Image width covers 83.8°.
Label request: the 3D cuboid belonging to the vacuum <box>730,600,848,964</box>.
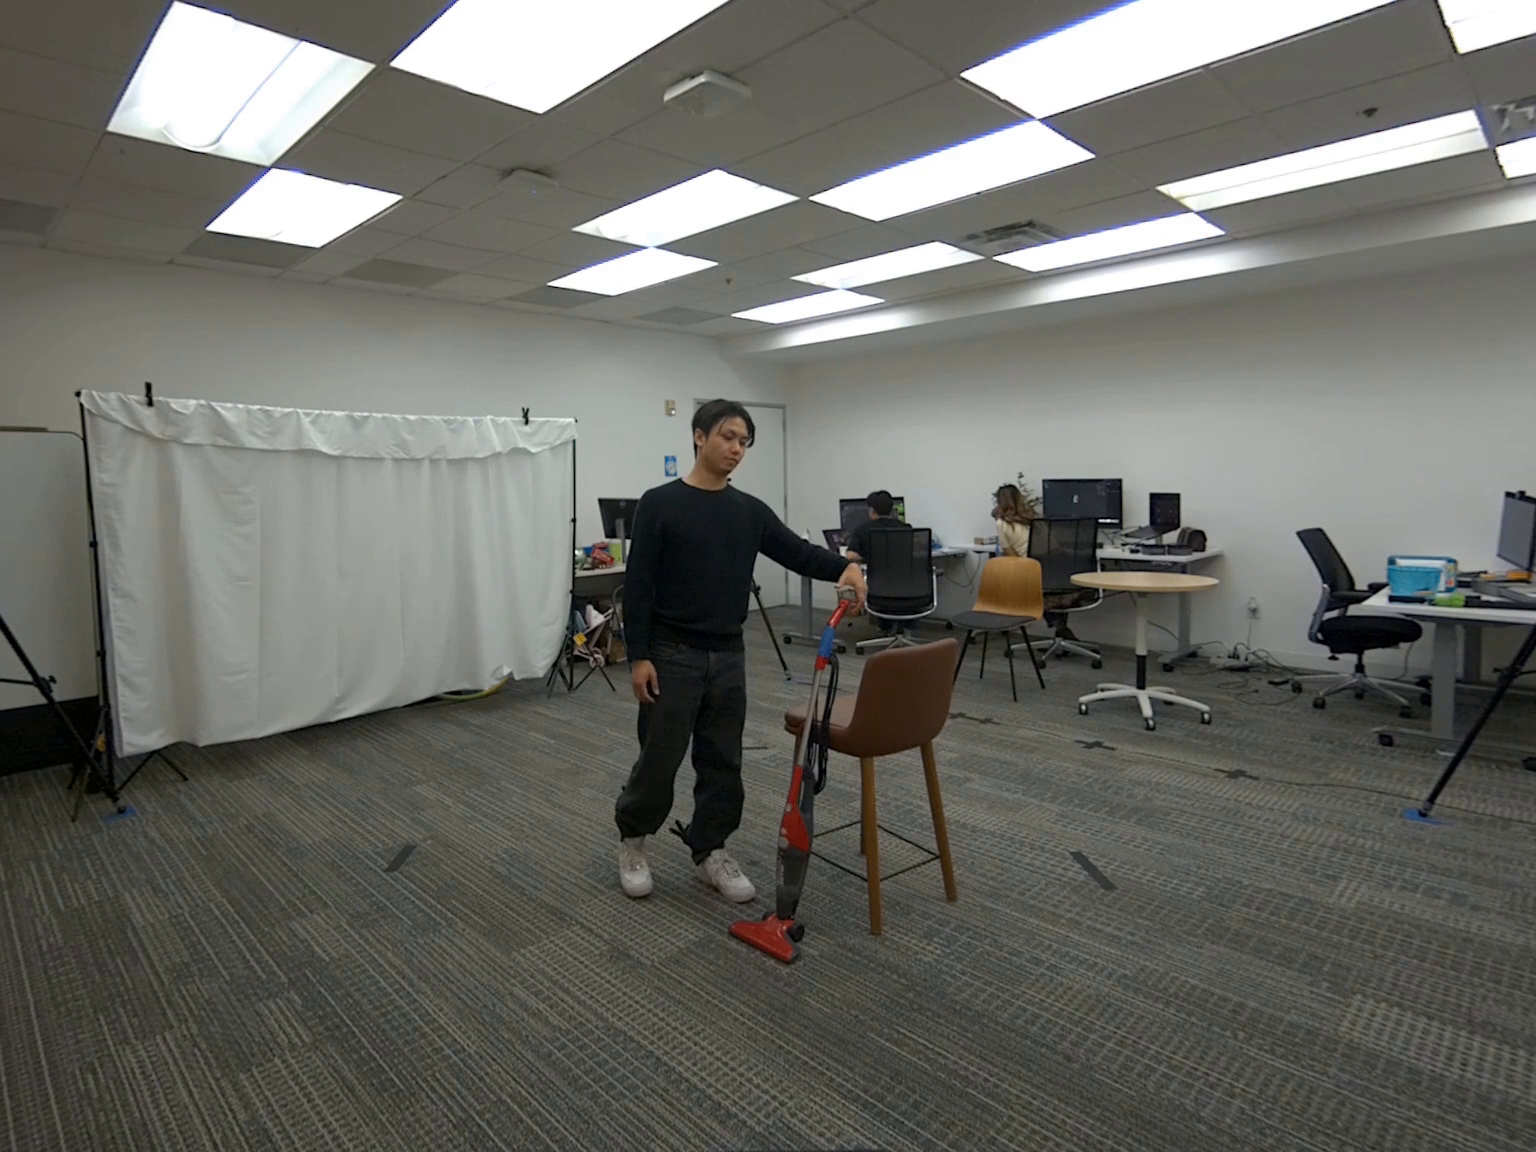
[{"bbox_3d":[0.146,0.603,2.655,0.139,1.055,0.260,21,-11,-42],"label":"vacuum"}]
